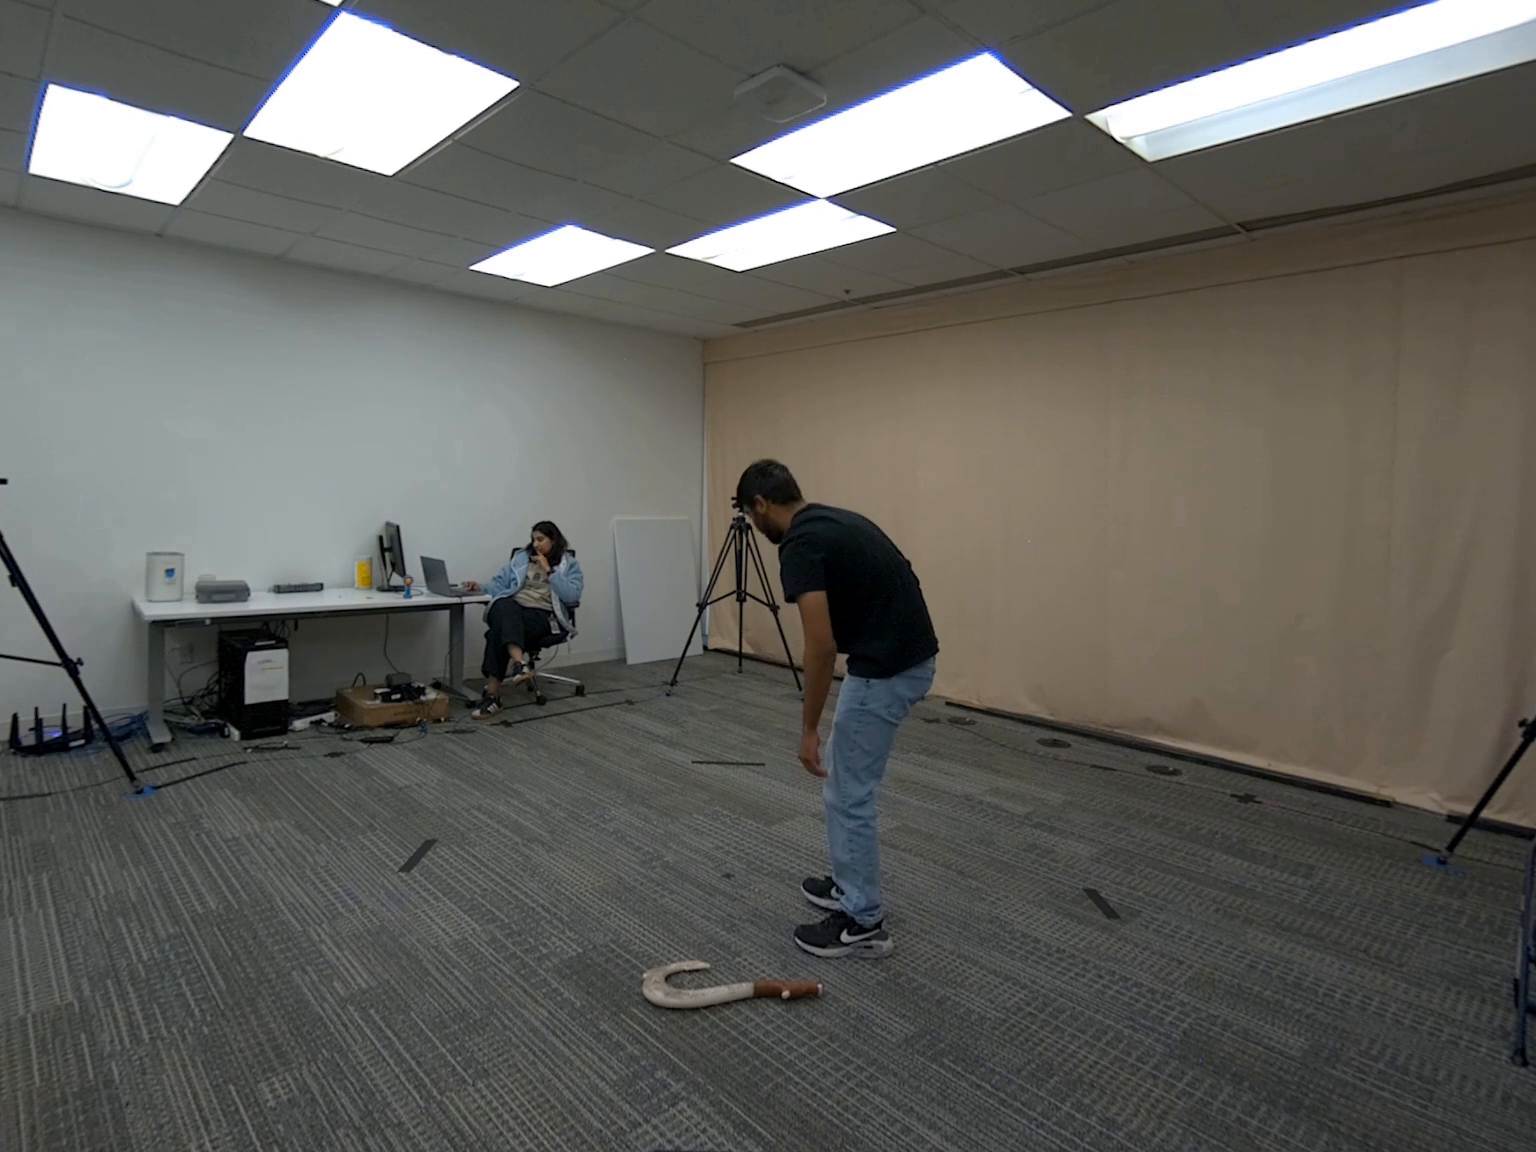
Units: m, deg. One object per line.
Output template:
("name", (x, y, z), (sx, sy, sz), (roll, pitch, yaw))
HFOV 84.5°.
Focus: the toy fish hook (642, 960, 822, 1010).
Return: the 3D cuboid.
("toy fish hook", (-0.103, 1.150, 2.387), (0.504, 0.048, 0.226), (1, 6, -5))
